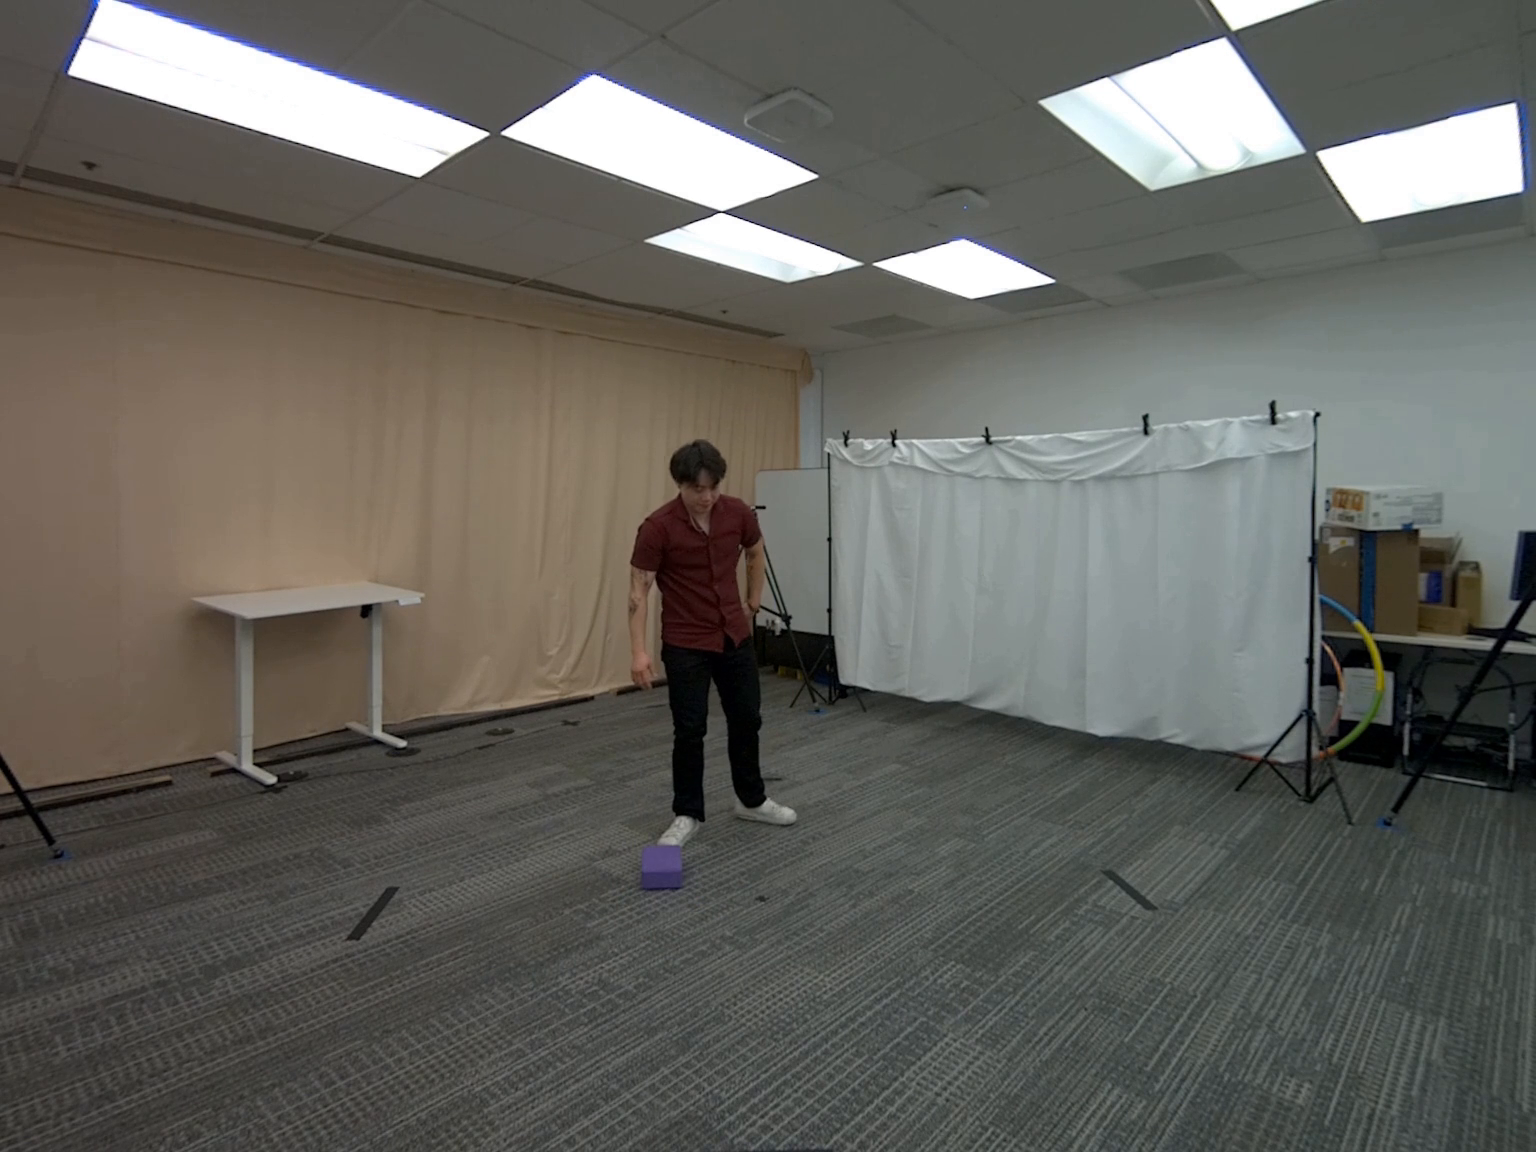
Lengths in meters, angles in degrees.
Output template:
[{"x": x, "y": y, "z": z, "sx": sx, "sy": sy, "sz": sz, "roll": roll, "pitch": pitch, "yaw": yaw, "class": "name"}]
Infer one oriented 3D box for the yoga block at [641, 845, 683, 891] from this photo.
[{"x": -0.401, "y": 1.088, "z": 3.167, "sx": 0.148, "sy": 0.076, "sz": 0.231, "roll": 1, "pitch": 5, "yaw": -5, "class": "yoga block"}]
